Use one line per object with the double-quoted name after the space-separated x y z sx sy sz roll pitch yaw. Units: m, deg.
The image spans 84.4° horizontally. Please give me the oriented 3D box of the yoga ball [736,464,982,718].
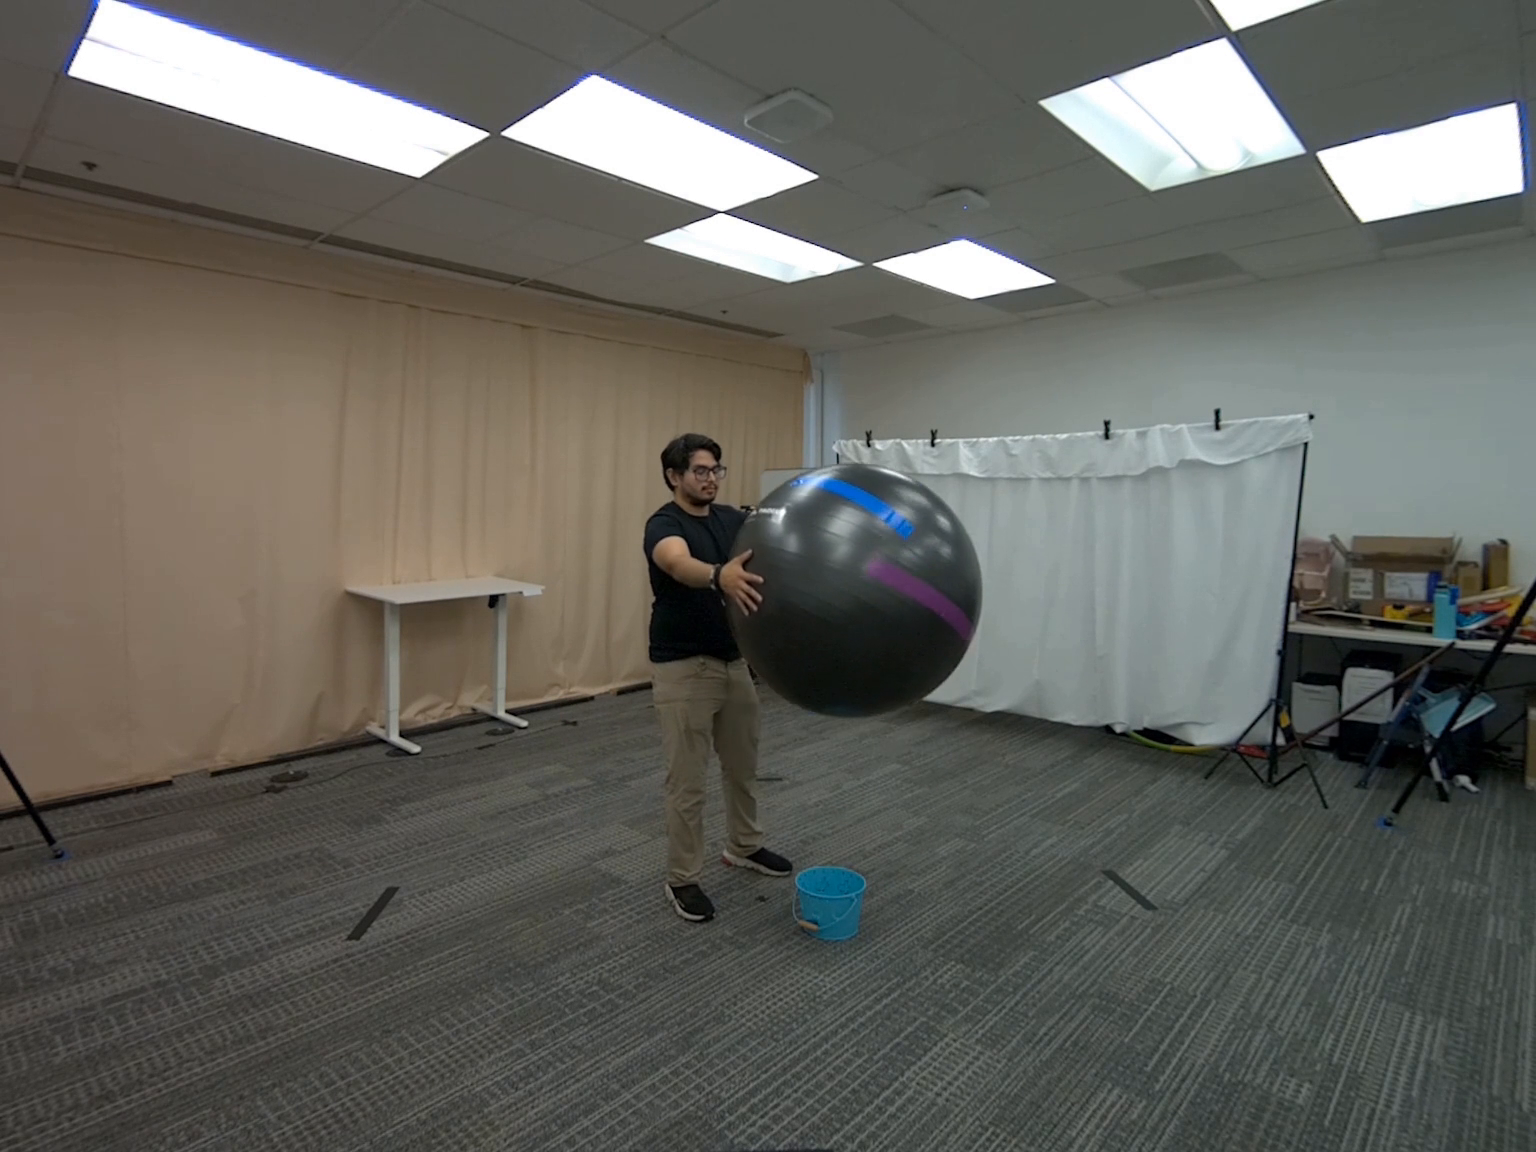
0.254 0.046 2.529 0.757 0.756 0.761 0 4 -2 "yoga ball"
